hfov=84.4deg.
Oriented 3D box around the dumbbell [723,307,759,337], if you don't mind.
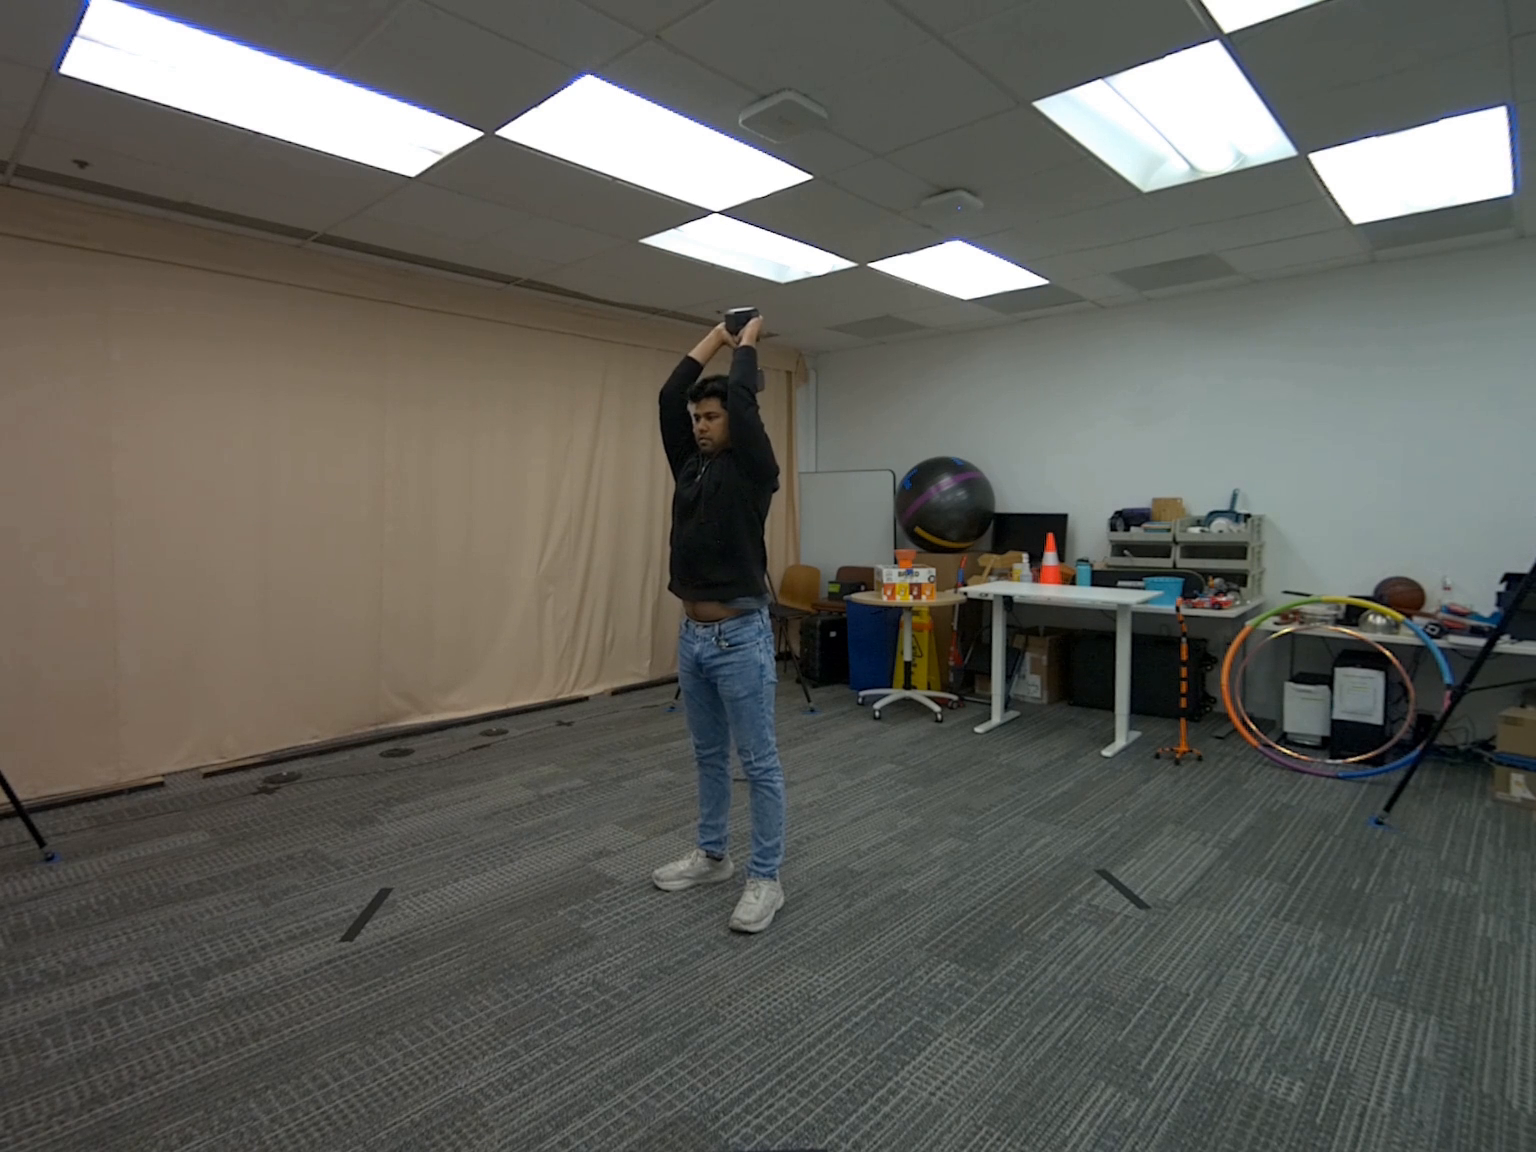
[{"bbox_3d":[-0.082,-0.797,3.000,0.106,0.289,0.127,-16,23,-29],"label":"dumbbell"}]
